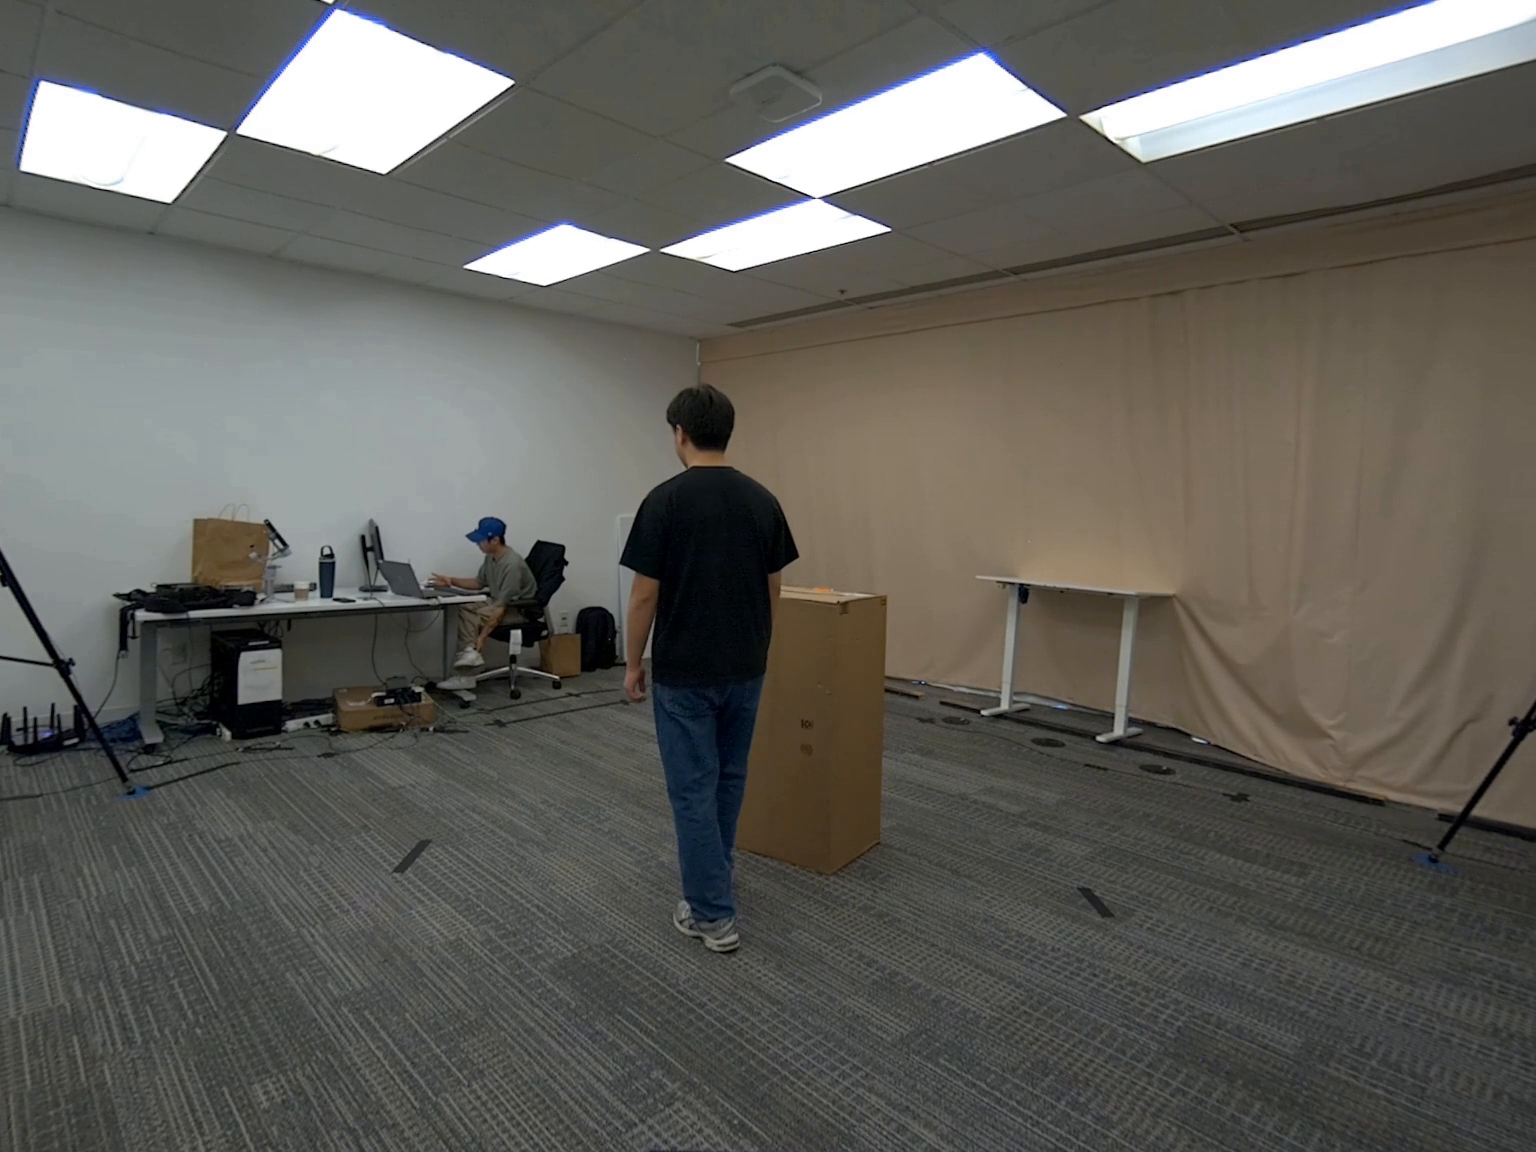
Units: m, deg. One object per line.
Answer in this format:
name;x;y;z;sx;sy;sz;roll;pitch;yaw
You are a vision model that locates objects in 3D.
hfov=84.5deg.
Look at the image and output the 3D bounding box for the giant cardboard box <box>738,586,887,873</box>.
giant cardboard box;0.120;0.573;3.433;0.598;1.025;0.437;4;3;36
